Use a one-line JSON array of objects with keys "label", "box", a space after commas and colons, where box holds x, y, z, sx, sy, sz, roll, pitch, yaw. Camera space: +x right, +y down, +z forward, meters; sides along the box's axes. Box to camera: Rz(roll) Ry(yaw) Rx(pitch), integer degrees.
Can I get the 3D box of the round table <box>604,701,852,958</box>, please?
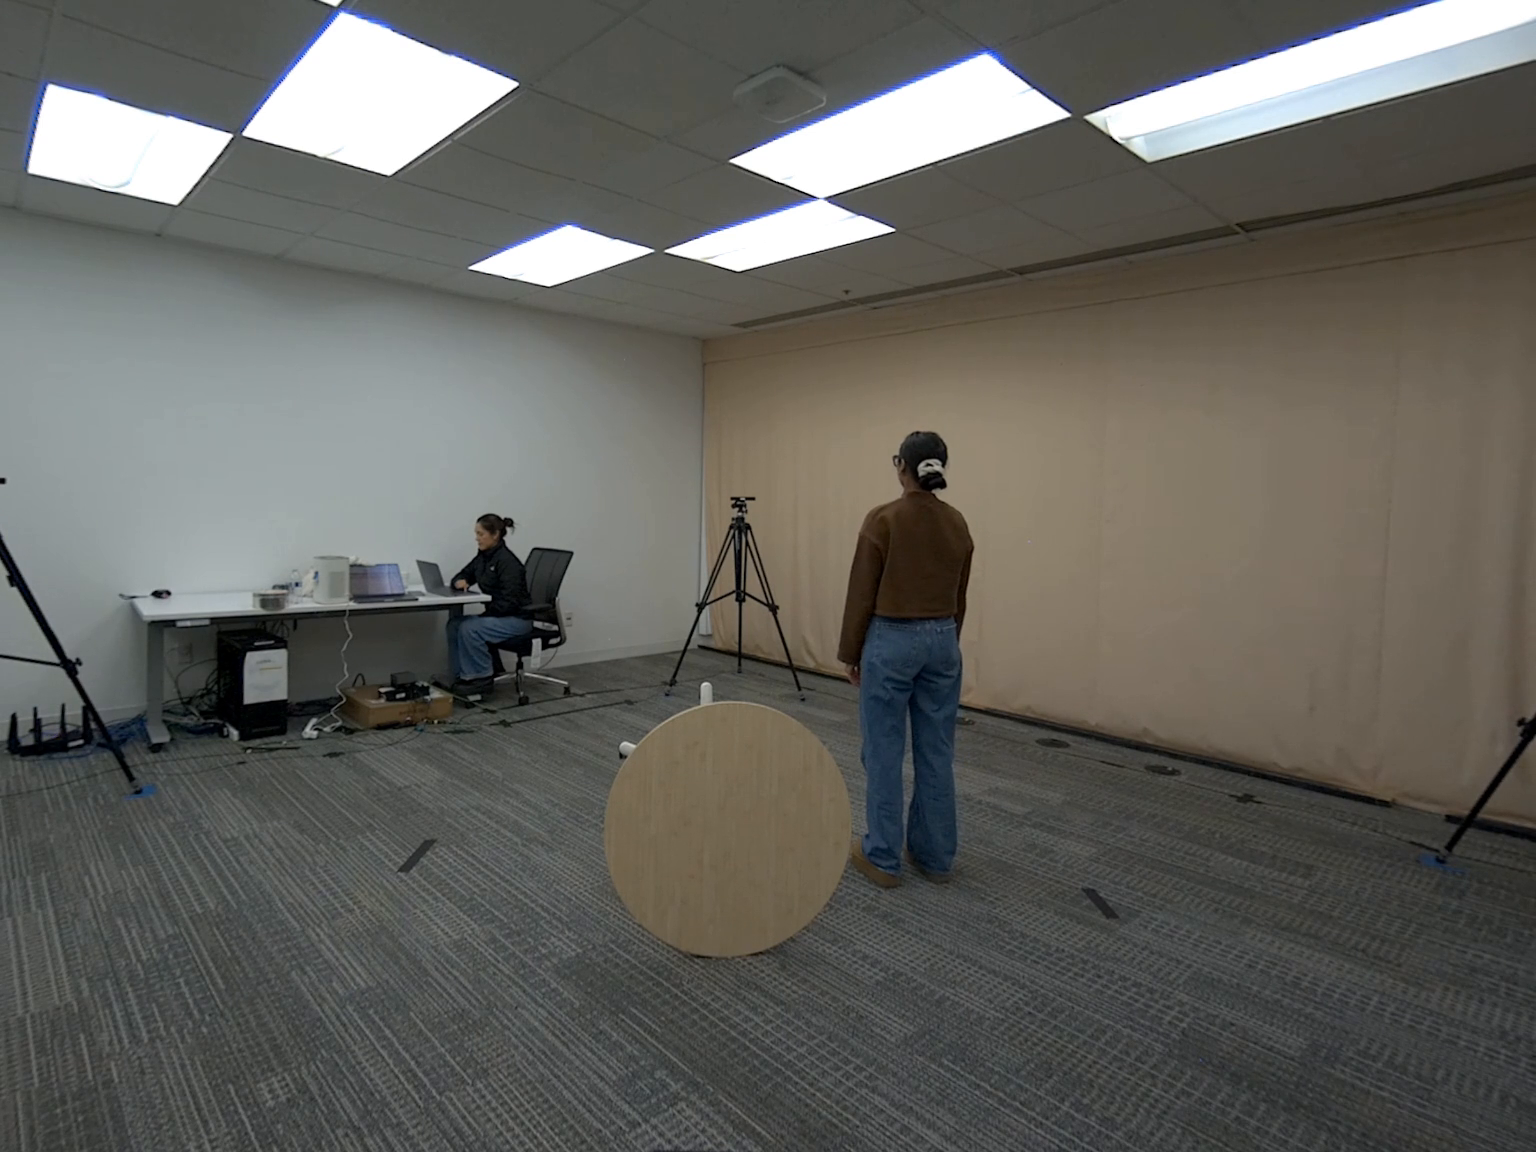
[{"label": "round table", "box": [-0.185, 0.779, 2.953, 0.759, 0.765, 0.798, 1, -1, -9]}]
